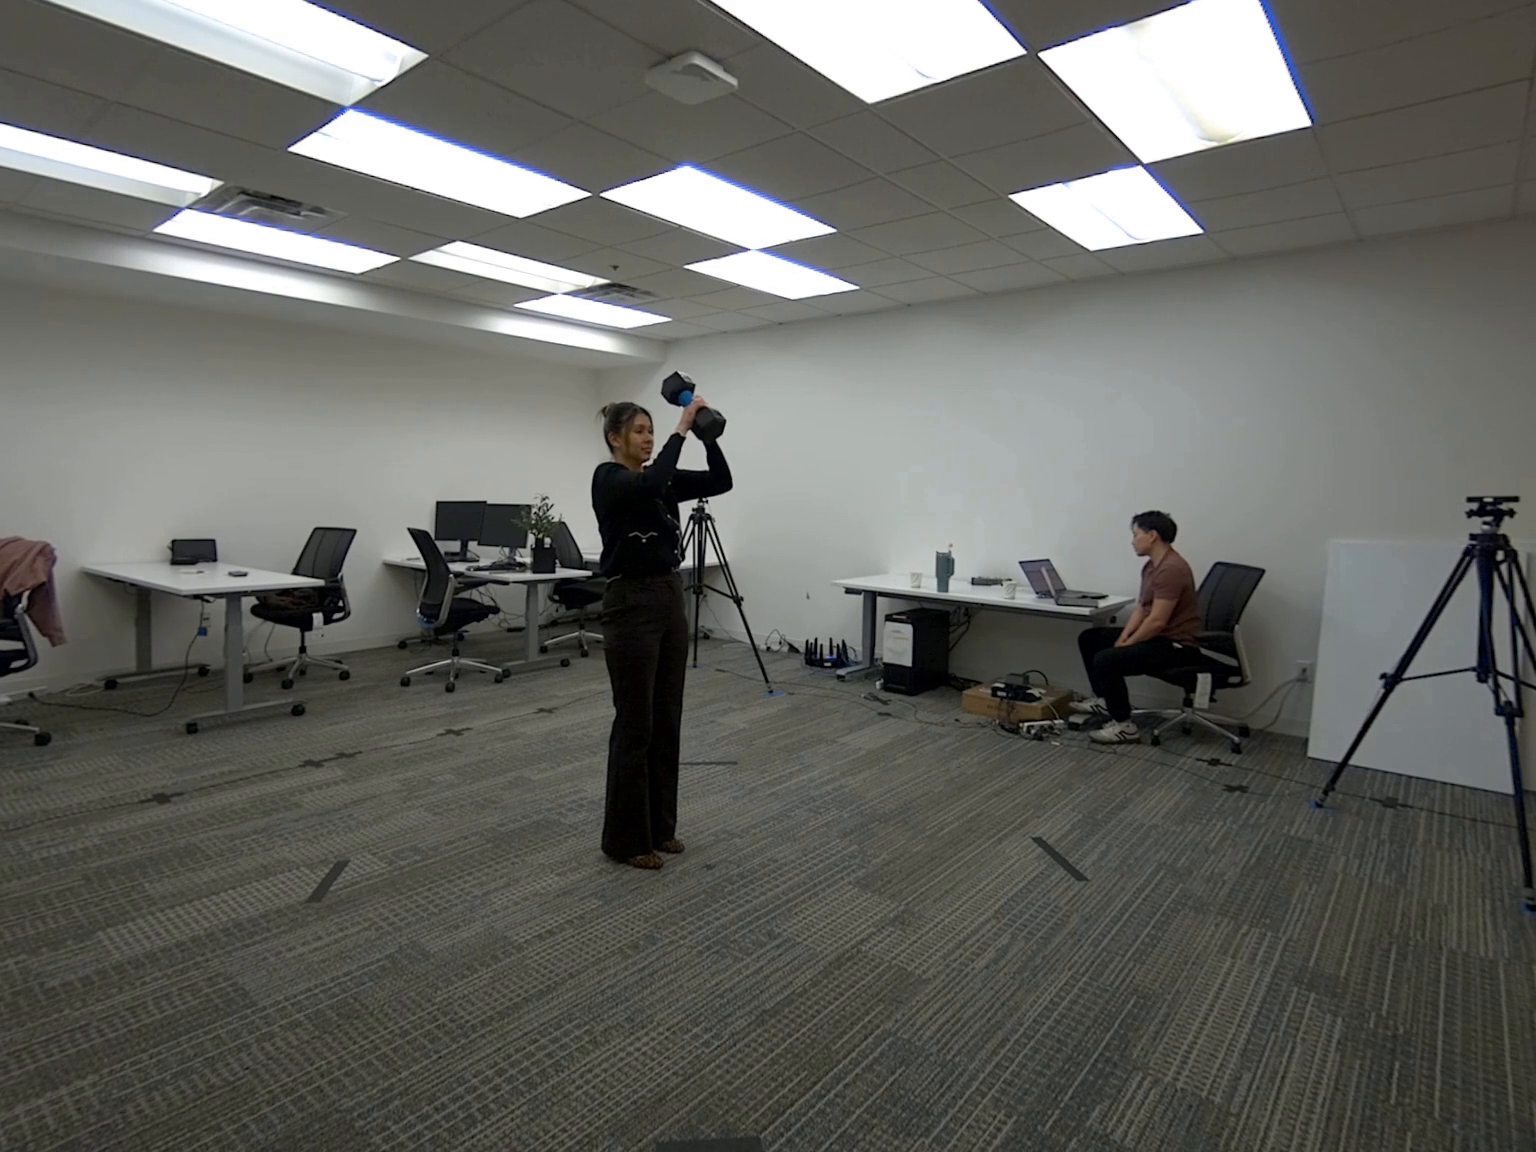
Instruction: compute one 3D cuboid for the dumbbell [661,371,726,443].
[{"bbox_3d":[-0.284,-0.621,3.083,0.107,0.121,0.304,-20,56,-31],"label":"dumbbell"}]
